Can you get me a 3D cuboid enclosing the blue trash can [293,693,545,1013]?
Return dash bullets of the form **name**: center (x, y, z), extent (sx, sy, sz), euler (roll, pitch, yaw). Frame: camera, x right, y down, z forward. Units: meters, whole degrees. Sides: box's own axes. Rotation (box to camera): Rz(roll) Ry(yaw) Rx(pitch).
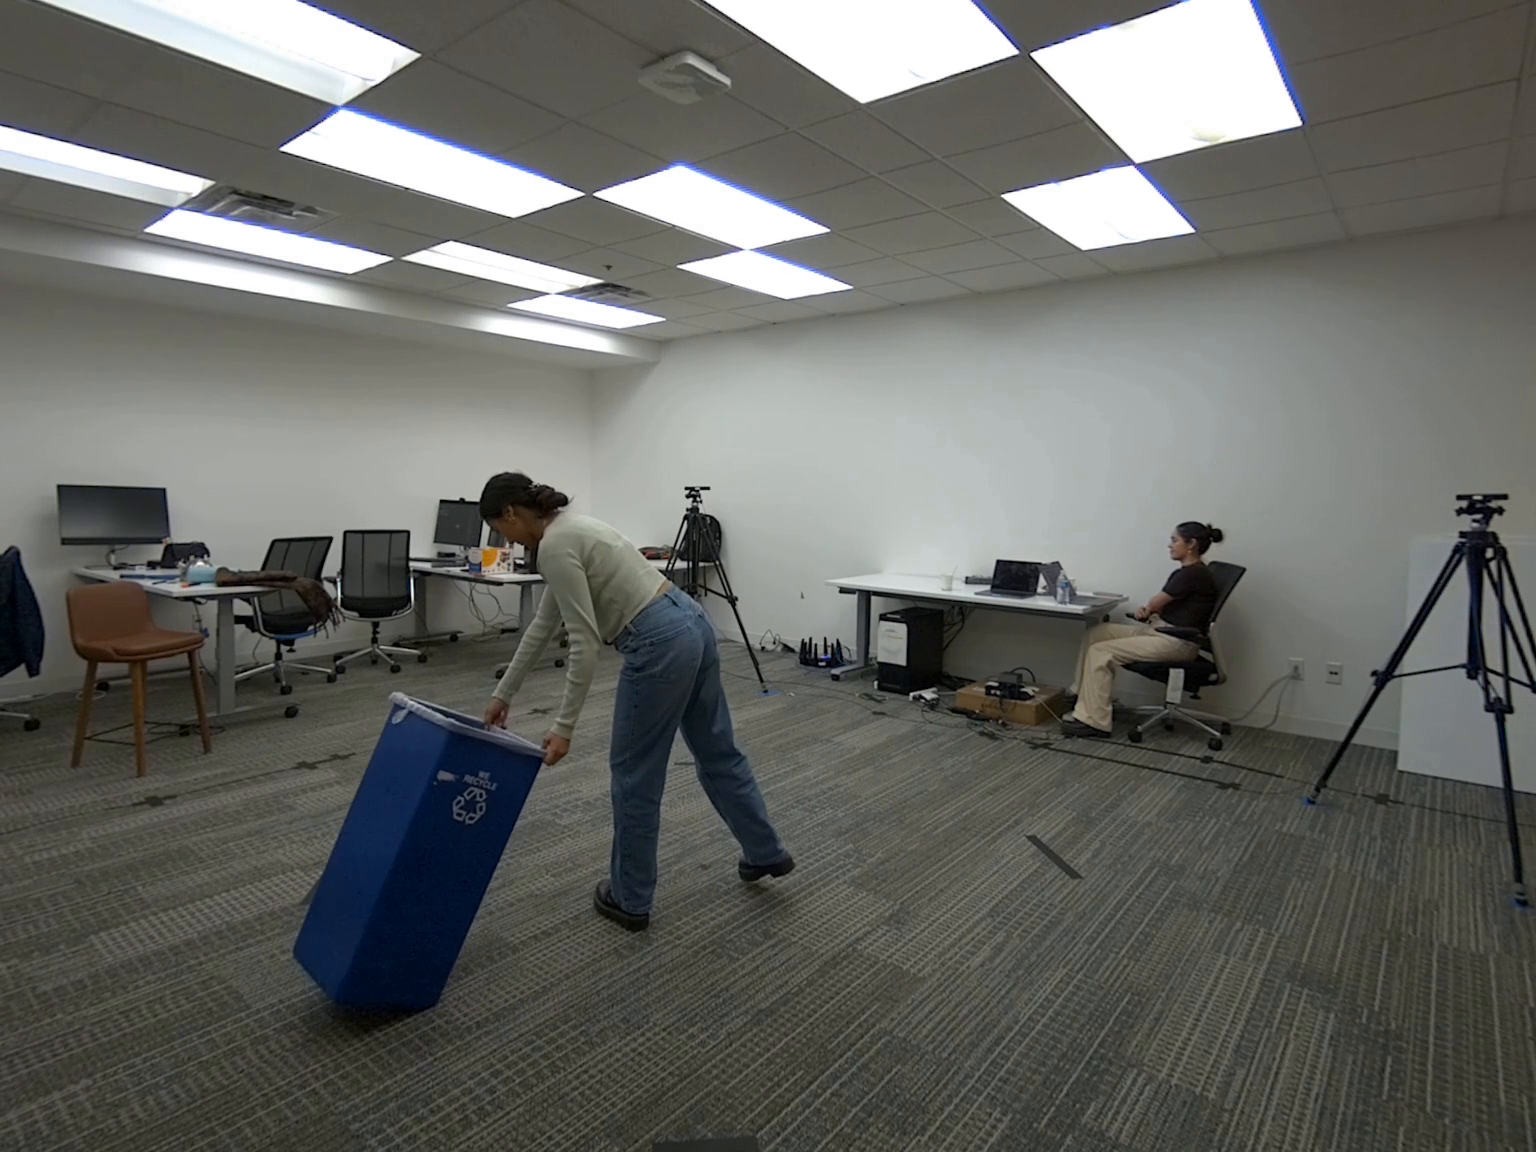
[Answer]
- **blue trash can**: center (-0.976, 0.746, 2.364), extent (0.391, 0.719, 0.358), euler (8, -18, 41)
